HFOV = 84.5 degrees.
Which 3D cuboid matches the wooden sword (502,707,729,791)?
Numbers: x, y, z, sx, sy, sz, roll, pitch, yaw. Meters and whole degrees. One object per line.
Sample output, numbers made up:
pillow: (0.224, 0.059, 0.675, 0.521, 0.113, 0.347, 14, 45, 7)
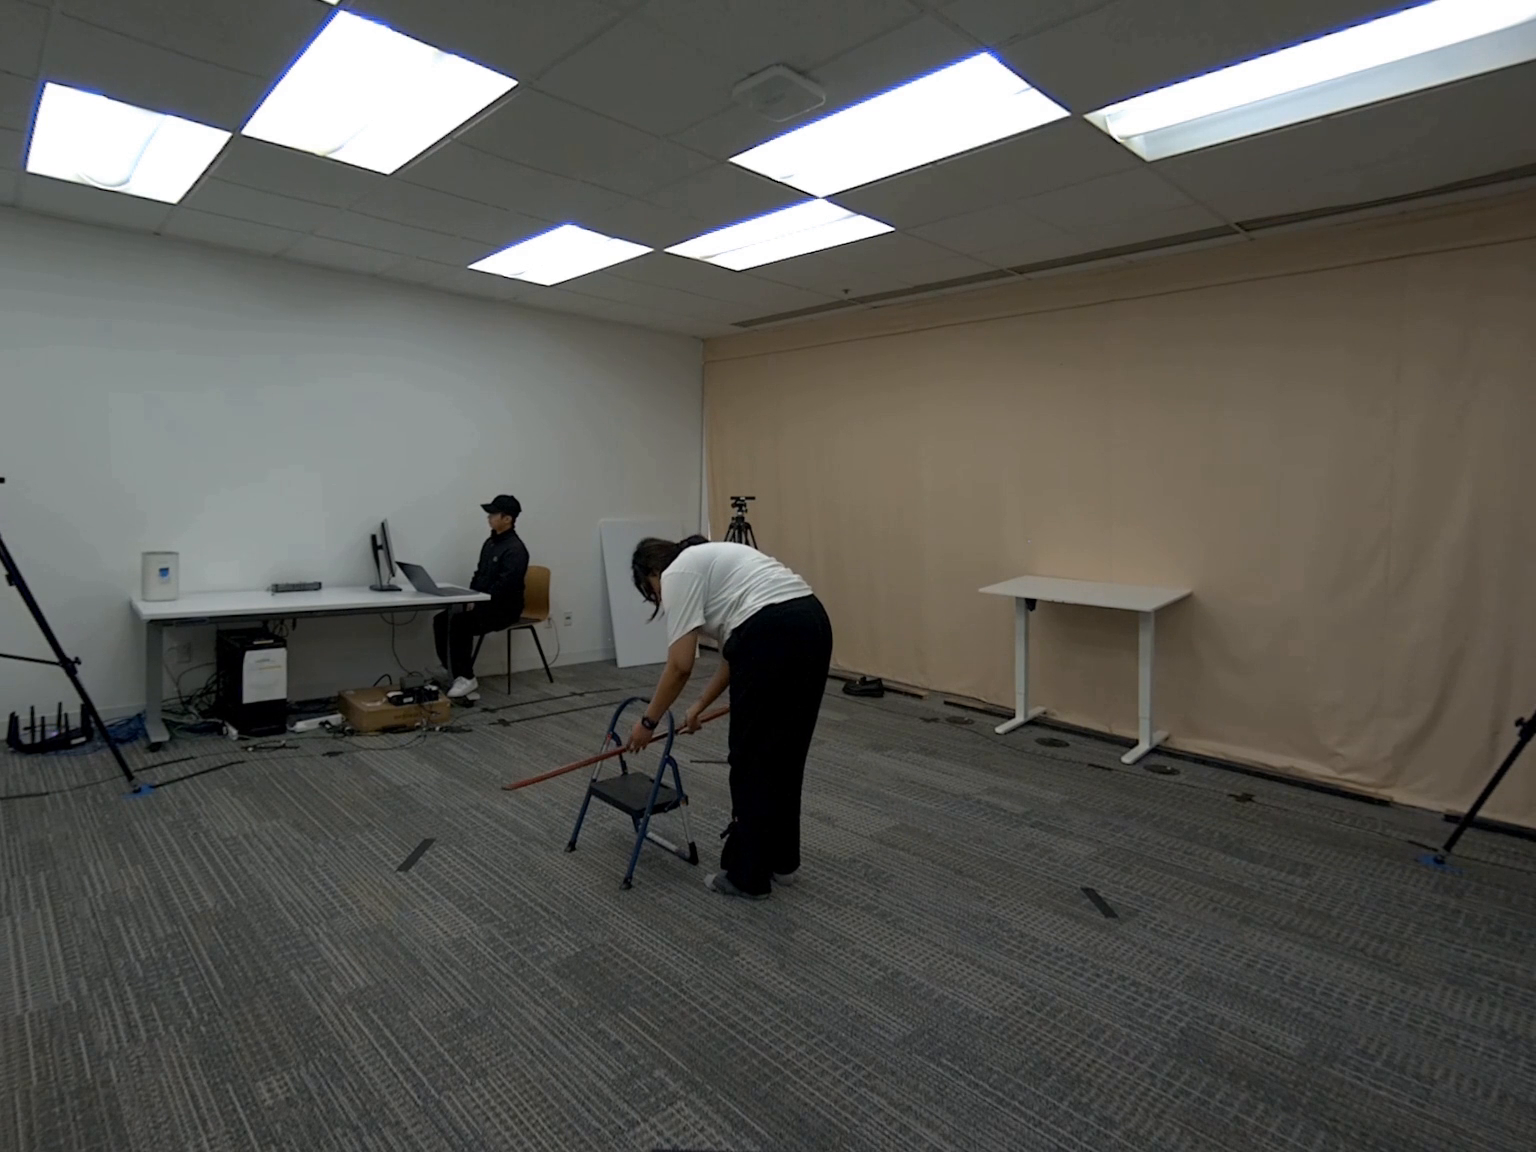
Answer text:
wooden sword: (-0.515, 0.632, 3.165, 1.006, 0.050, 0.025, -12, 27, -39)
